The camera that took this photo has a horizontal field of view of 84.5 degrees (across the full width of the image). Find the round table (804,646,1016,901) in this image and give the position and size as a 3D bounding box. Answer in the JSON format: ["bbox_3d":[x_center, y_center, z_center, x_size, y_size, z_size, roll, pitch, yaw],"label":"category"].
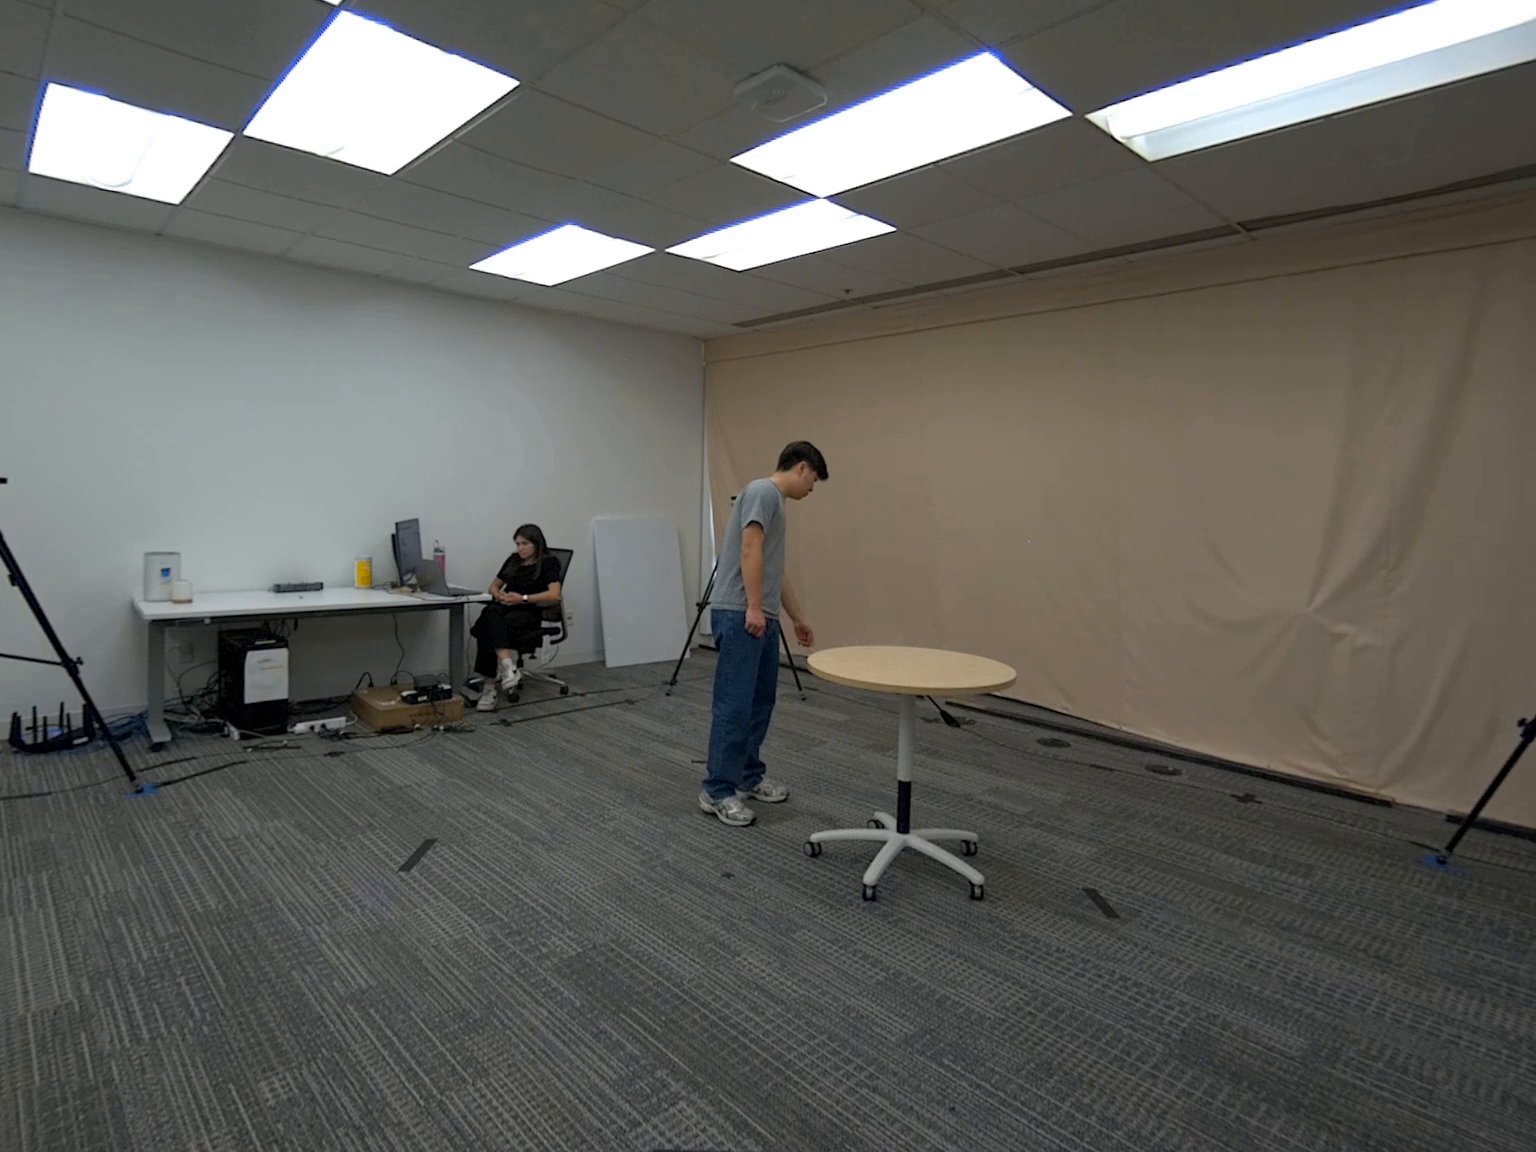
[{"bbox_3d":[0.509,0.726,3.183,0.763,0.792,0.766,2,4,-1],"label":"round table"}]
